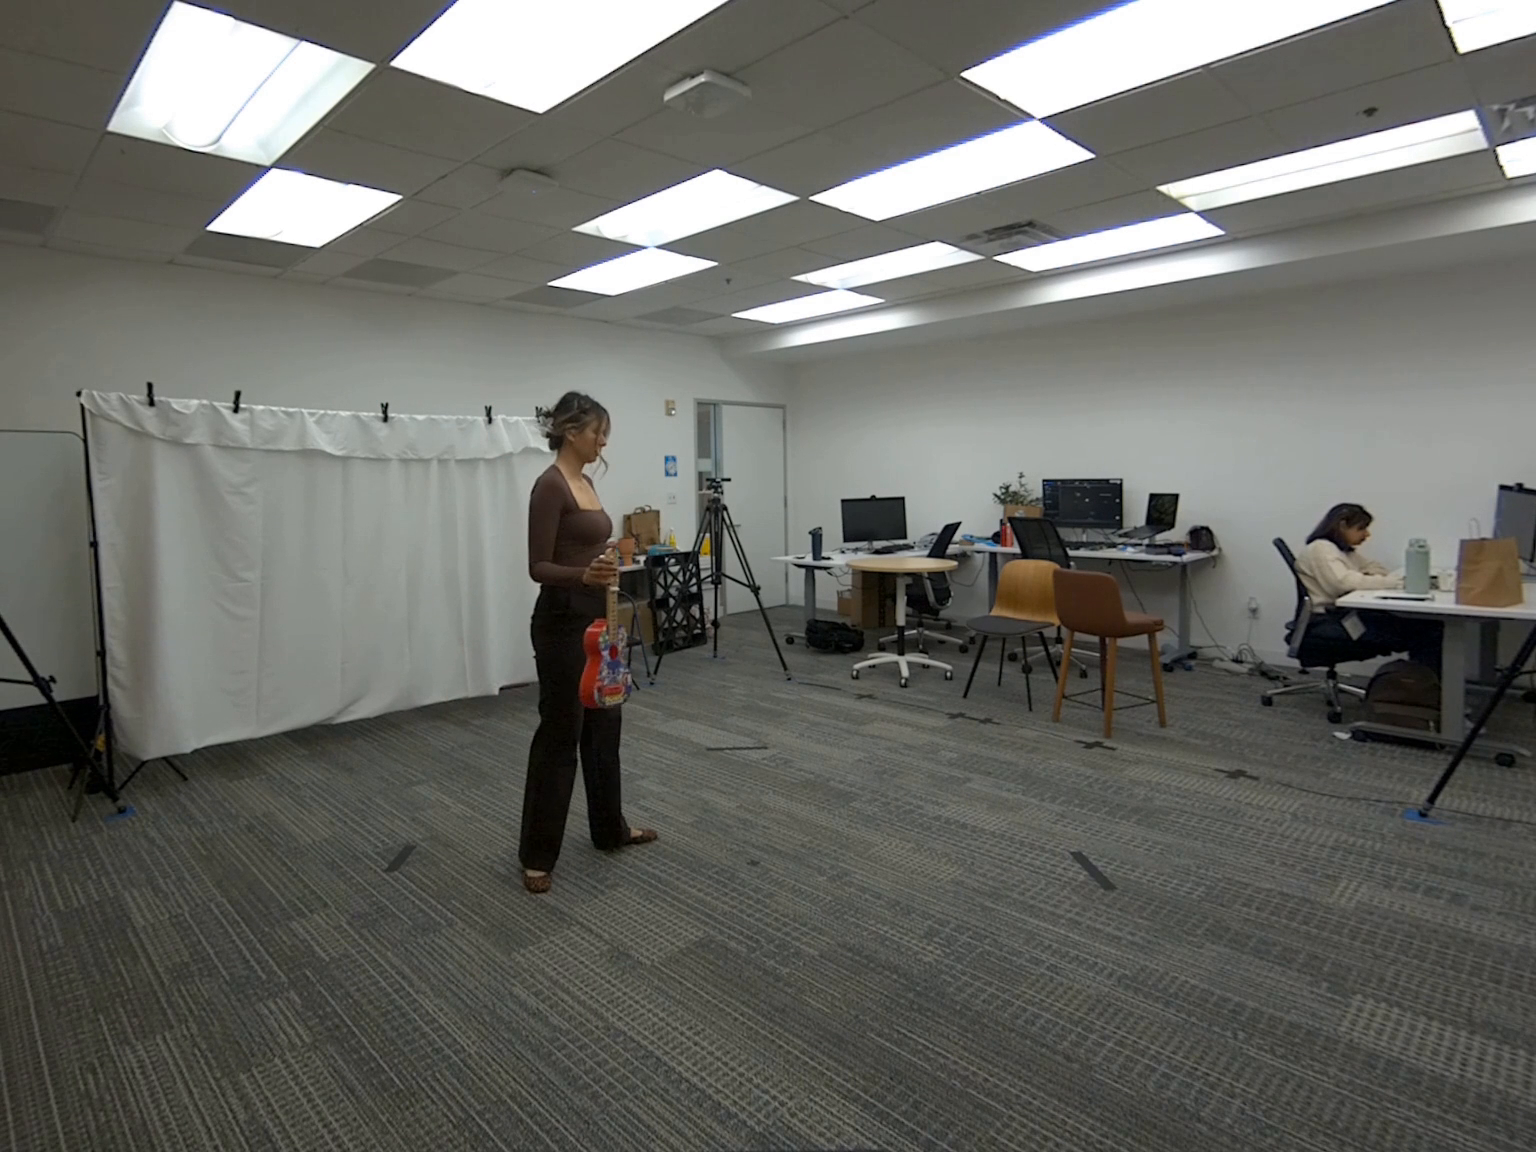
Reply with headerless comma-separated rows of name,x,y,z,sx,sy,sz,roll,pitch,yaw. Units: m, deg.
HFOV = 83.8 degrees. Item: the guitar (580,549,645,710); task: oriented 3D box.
guitar,-0.498,0.166,2.728,0.072,0.501,0.187,-1,-8,29
